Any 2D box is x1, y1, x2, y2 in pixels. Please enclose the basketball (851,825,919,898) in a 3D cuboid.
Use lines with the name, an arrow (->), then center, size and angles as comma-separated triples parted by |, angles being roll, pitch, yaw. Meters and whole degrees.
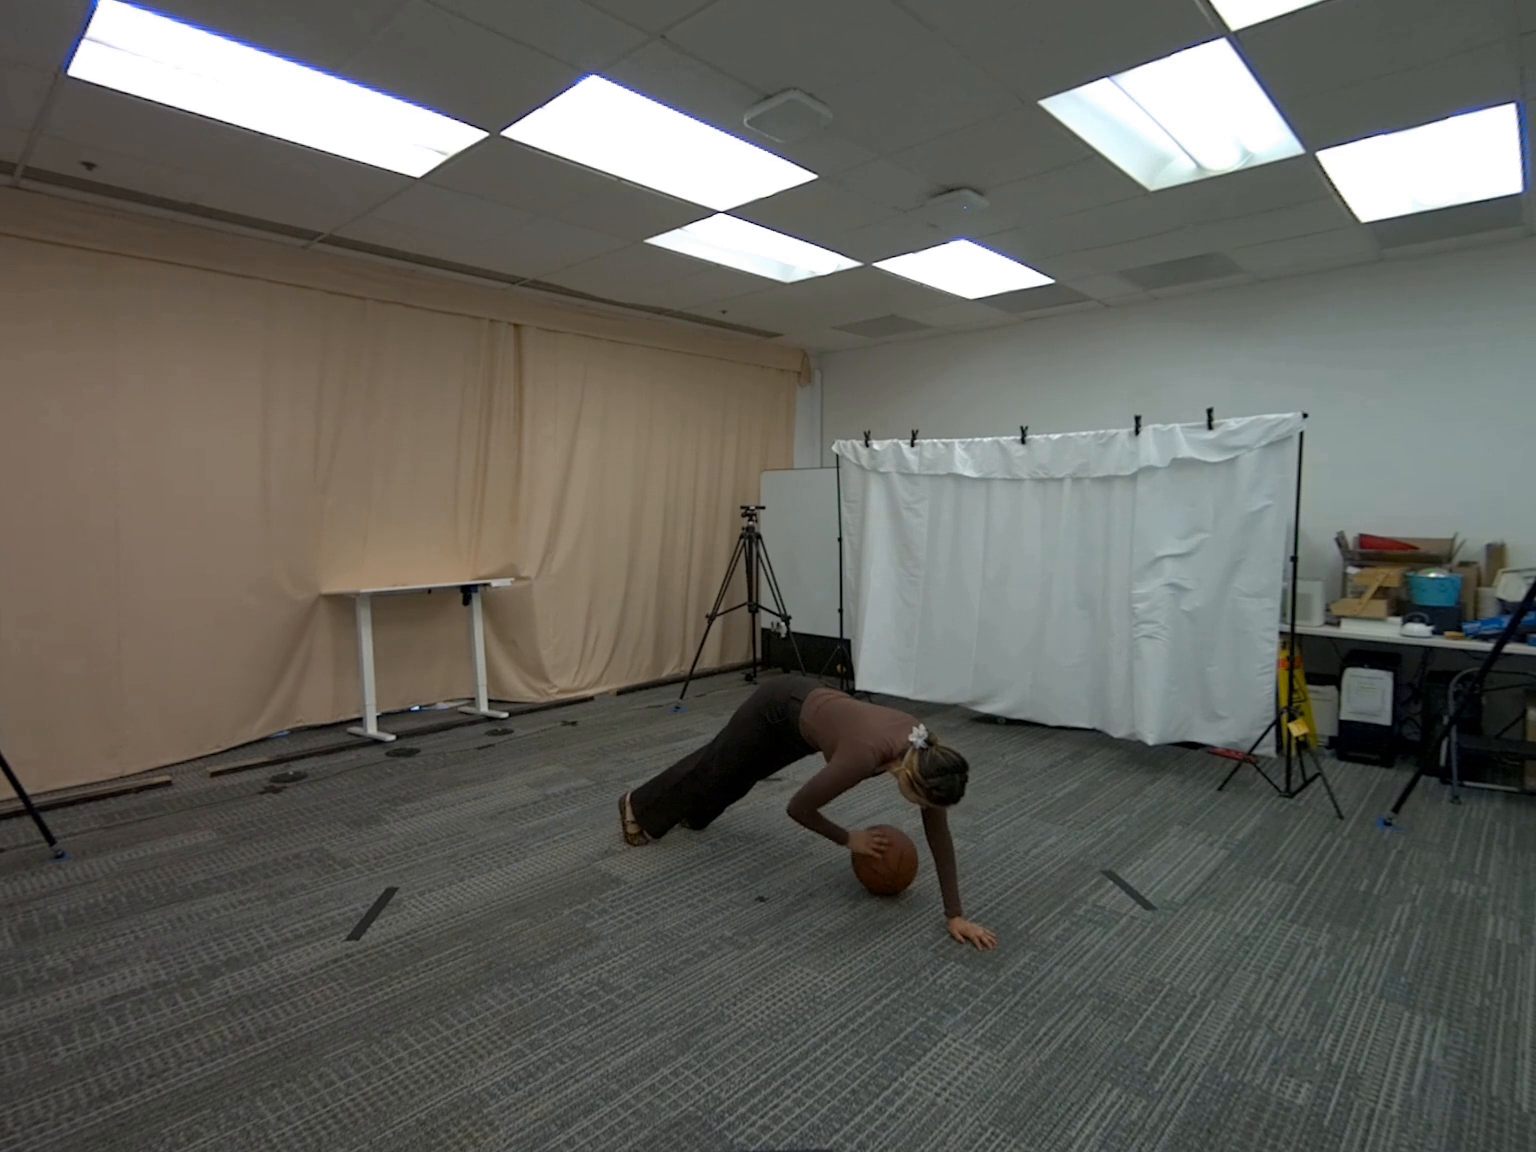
basketball -> 0.423, 1.018, 3.022 | 0.236, 0.235, 0.237 | 0, 4, -2
